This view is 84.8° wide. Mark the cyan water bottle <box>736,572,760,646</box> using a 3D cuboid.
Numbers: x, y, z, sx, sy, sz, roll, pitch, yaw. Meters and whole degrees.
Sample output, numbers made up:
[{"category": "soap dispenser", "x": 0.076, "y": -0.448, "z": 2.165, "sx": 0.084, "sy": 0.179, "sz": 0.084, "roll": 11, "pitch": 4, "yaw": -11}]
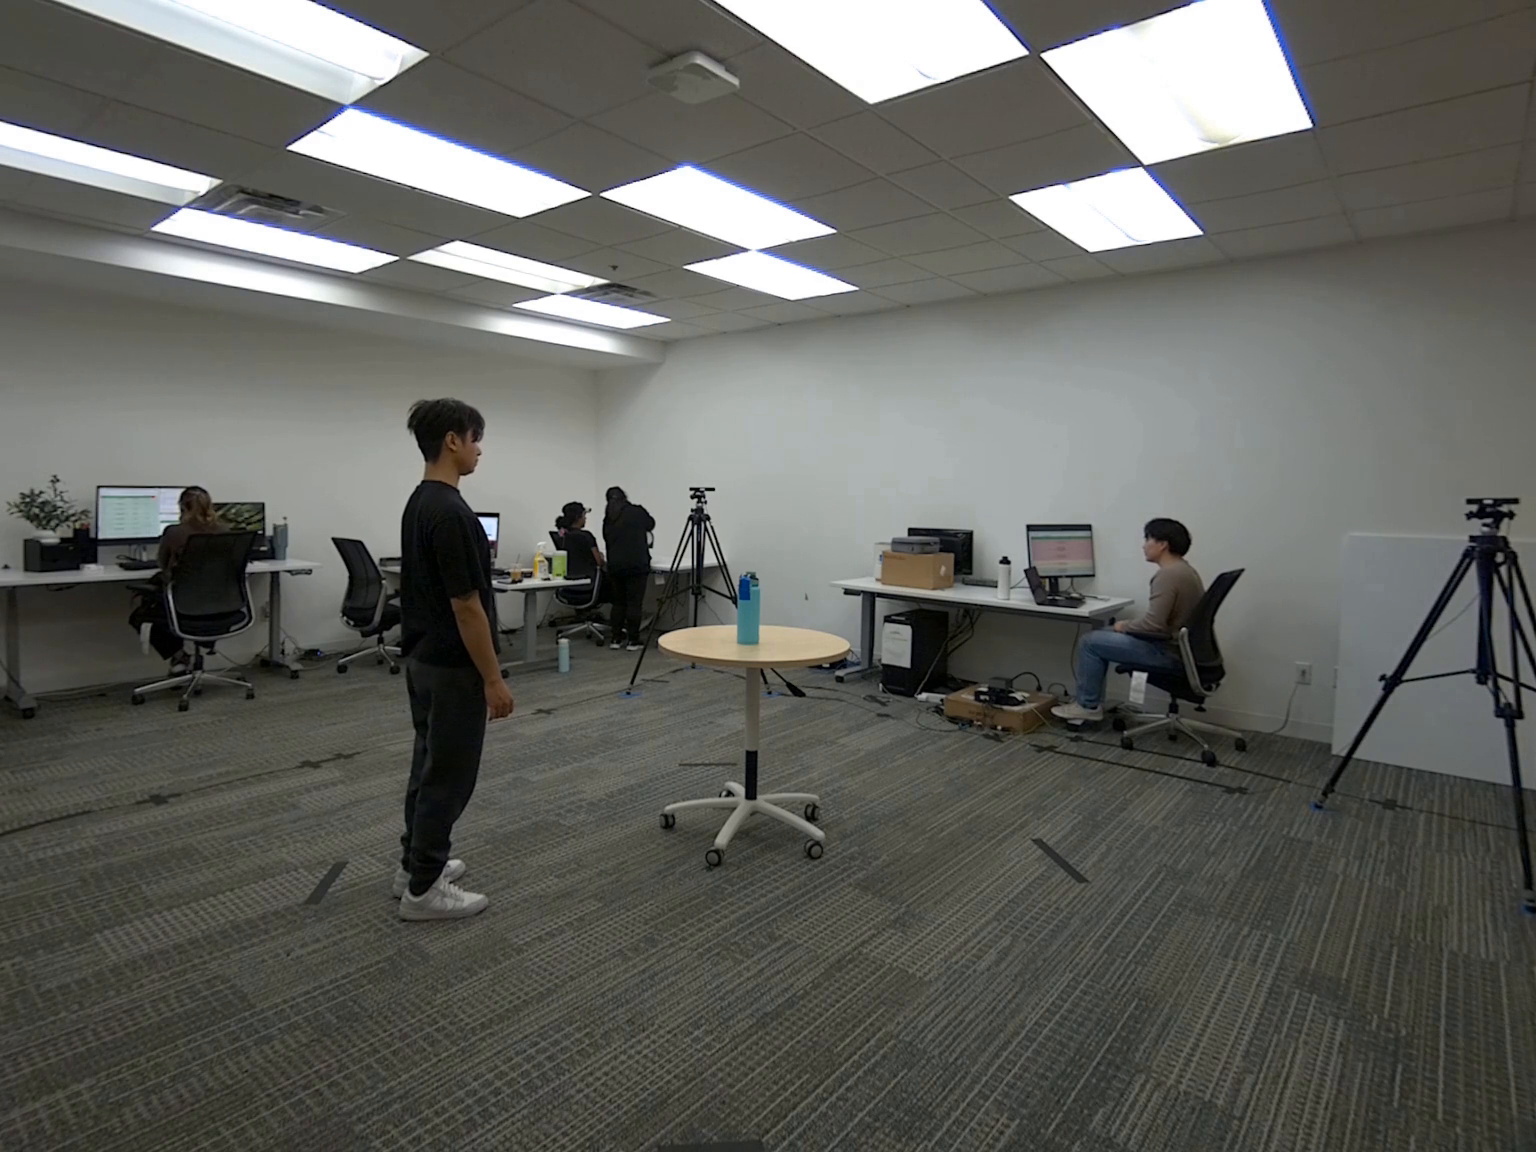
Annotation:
[{"category": "cyan water bottle", "x": -0.086, "y": 0.124, "z": 3.369, "sx": 0.092, "sy": 0.282, "sz": 0.093, "roll": 0, "pitch": 5, "yaw": -2}]
